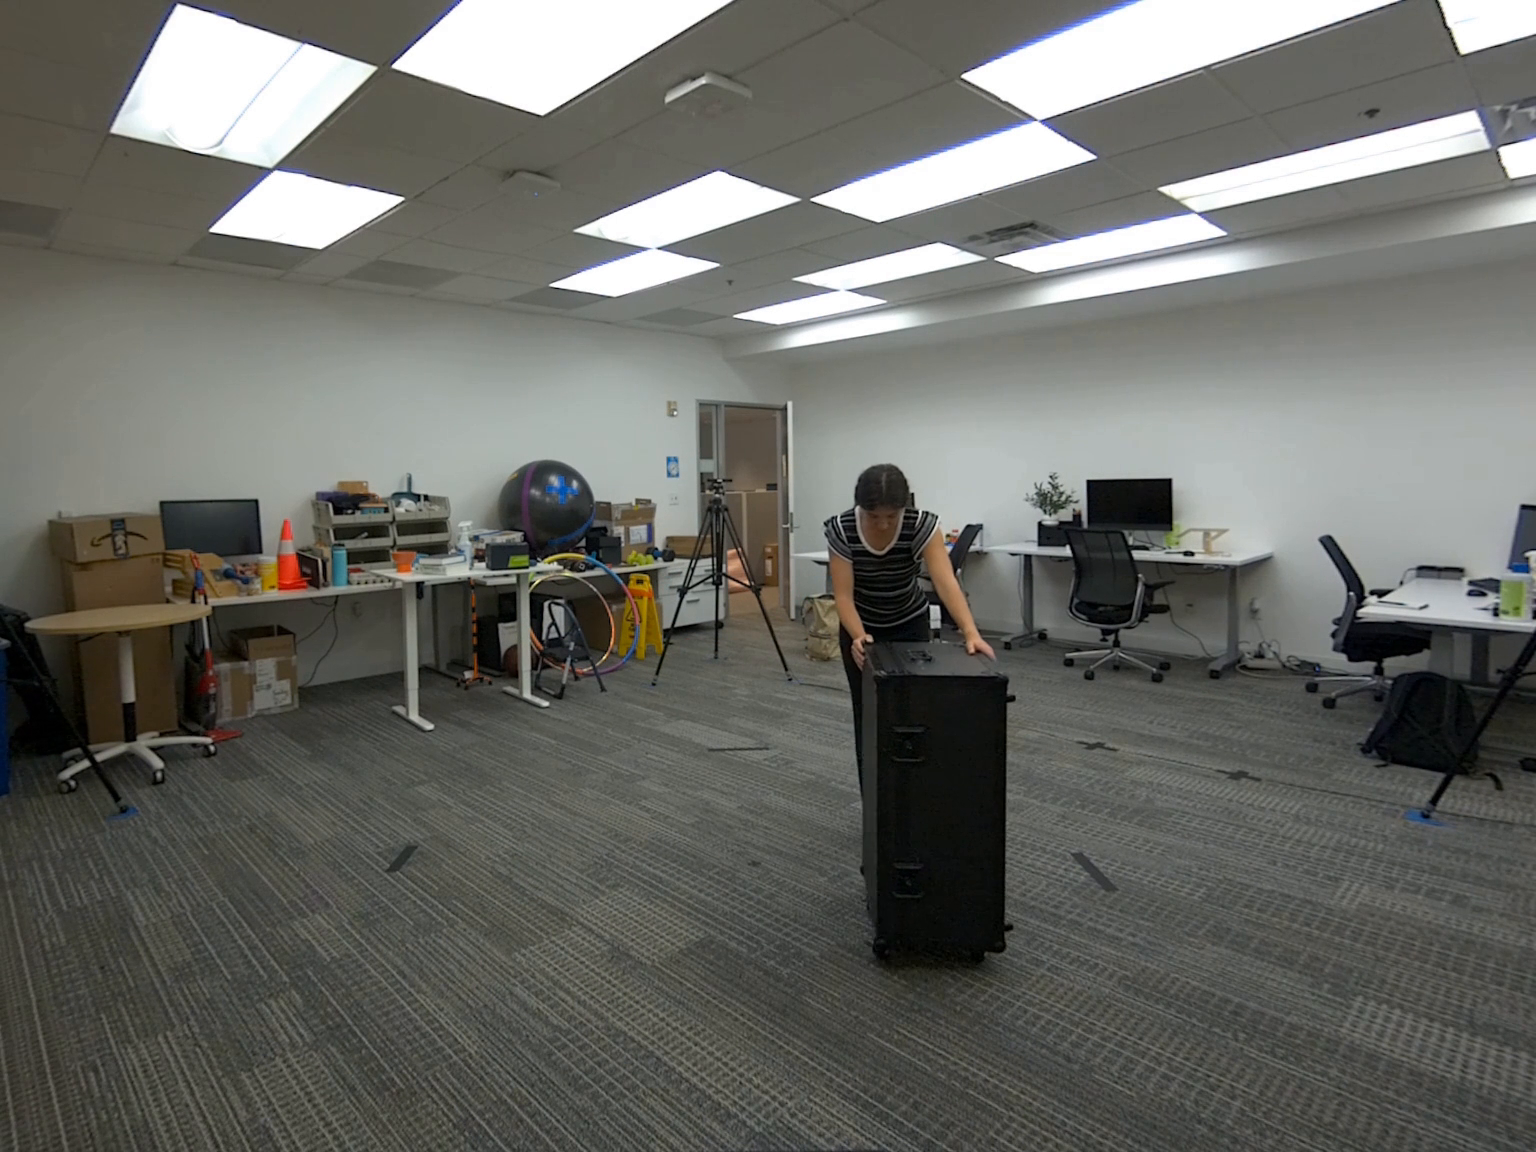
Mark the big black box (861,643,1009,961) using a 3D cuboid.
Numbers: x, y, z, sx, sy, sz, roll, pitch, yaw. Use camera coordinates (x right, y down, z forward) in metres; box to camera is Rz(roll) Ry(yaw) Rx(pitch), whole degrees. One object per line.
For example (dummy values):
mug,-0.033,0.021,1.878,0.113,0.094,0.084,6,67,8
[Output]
big black box,0.497,0.677,2.601,0.398,0.859,0.520,0,4,4
